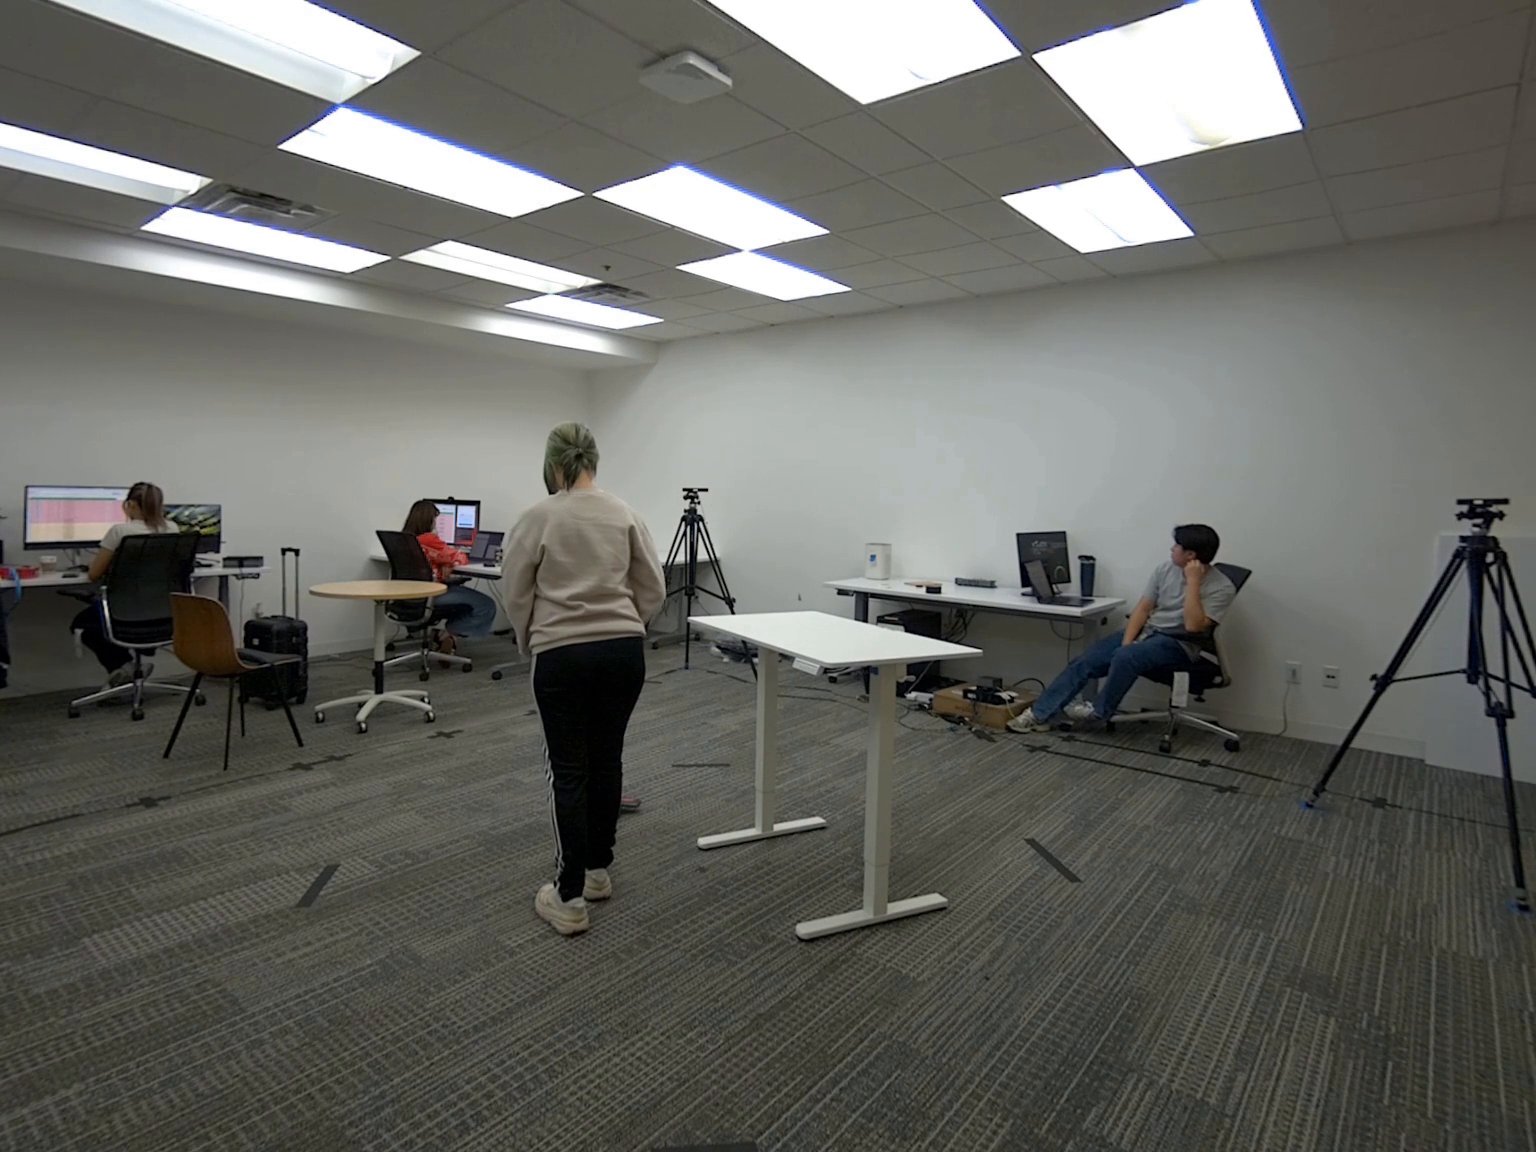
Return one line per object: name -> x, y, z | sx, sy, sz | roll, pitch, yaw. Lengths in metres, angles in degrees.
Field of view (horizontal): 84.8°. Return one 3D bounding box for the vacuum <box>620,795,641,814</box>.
vacuum -> -0.743, 0.656, 3.290 | 0.254, 1.014, 0.148 | -3, 47, 6
